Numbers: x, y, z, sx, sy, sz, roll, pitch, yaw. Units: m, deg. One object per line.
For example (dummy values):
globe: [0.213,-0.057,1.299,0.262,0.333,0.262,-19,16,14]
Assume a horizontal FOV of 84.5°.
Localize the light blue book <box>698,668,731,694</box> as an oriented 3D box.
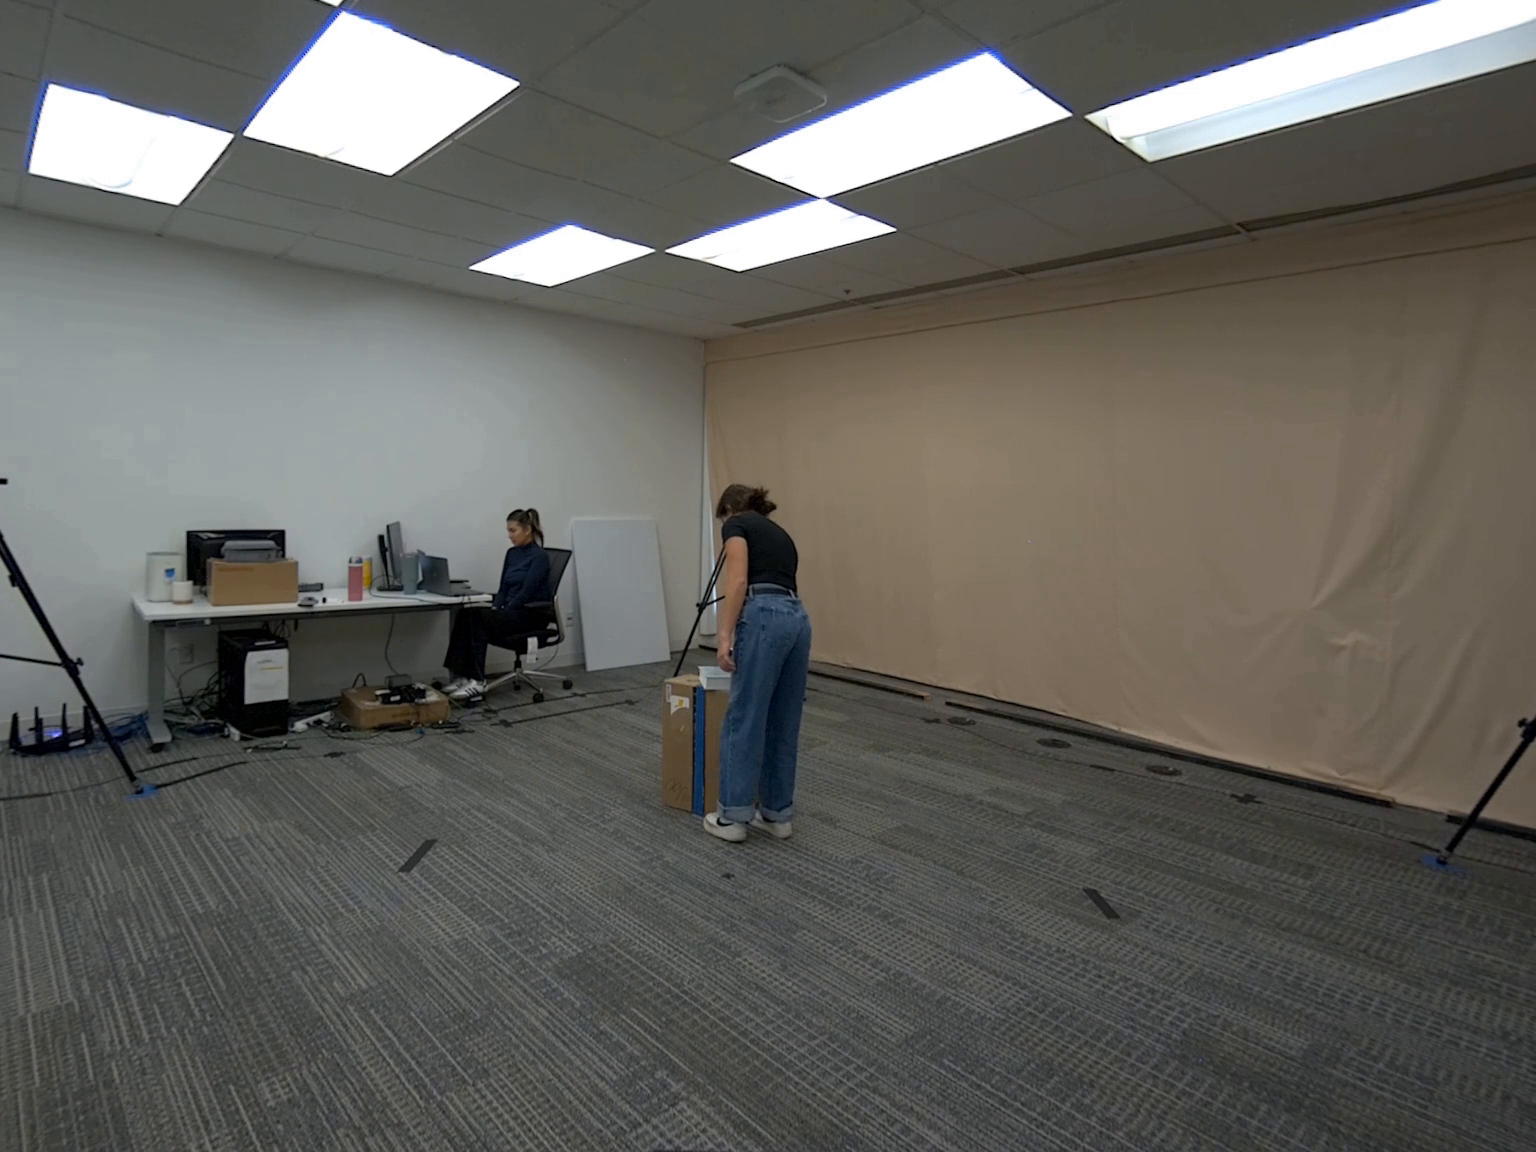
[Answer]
light blue book: [-0.204,0.464,3.771,0.190,0.059,0.263,-1,4,-10]
